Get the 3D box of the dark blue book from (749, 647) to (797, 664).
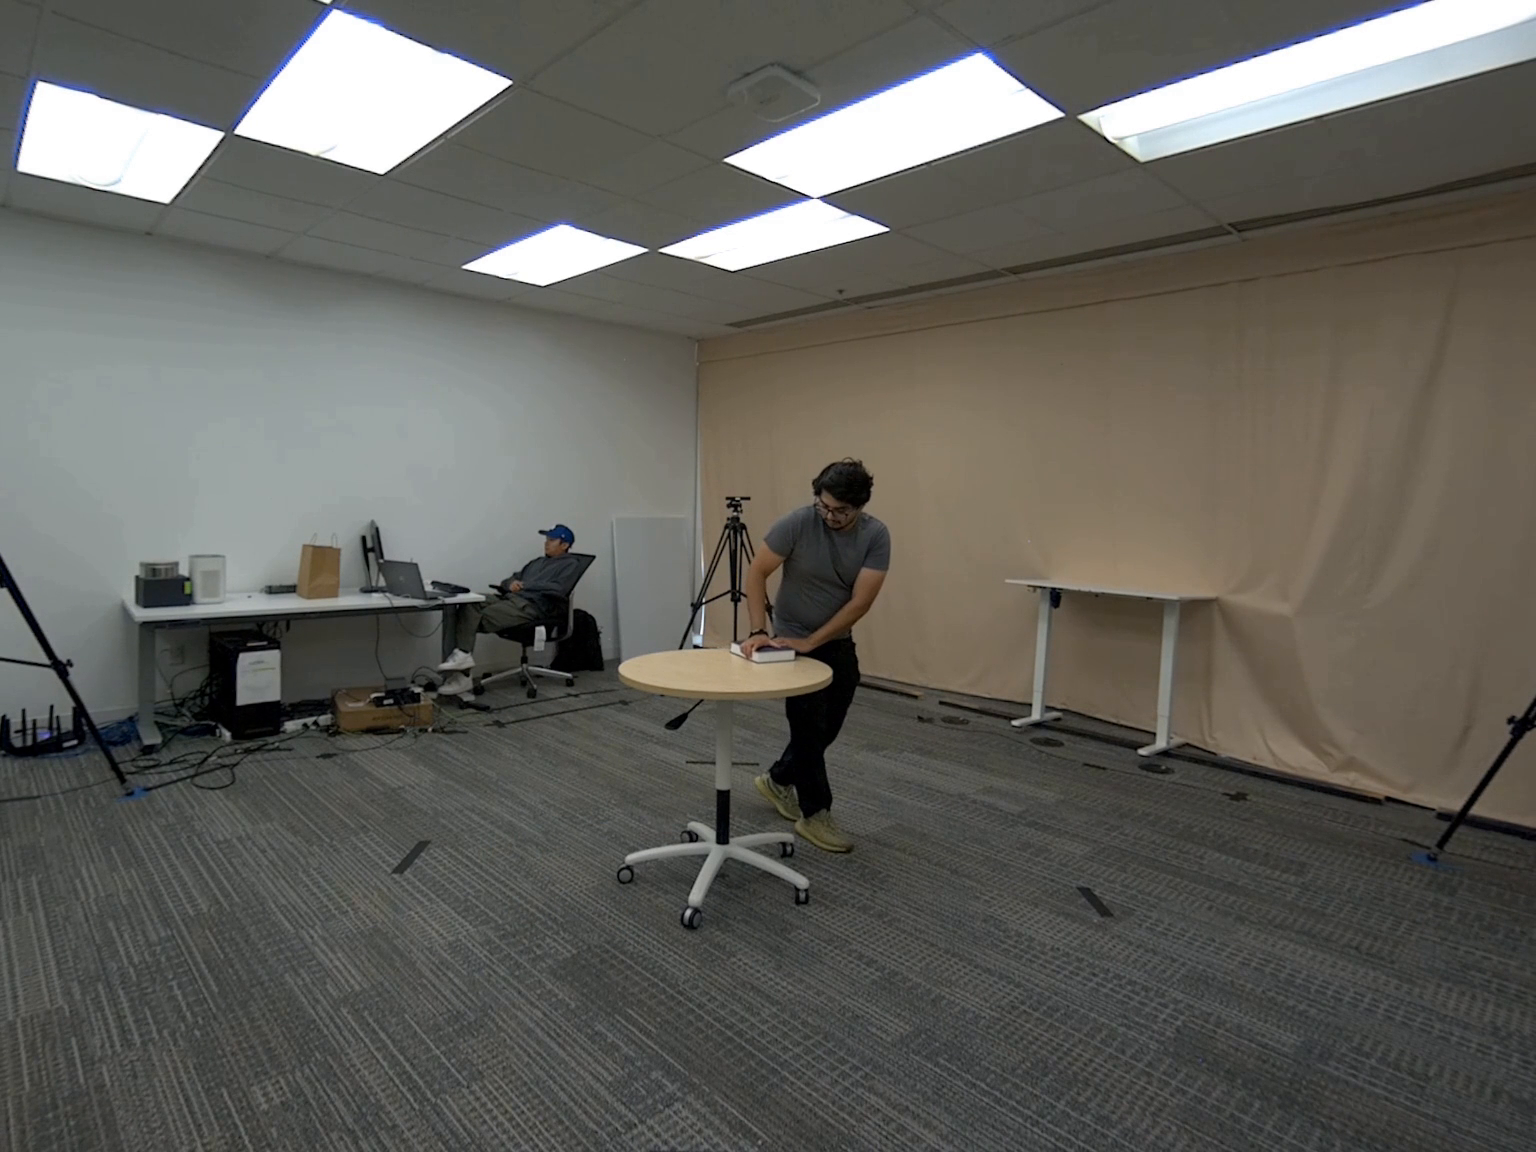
[{"bbox_3d":[-0.030,0.290,3.253,0.160,0.045,0.250,-1,6,-26],"label":"dark blue book"}]
